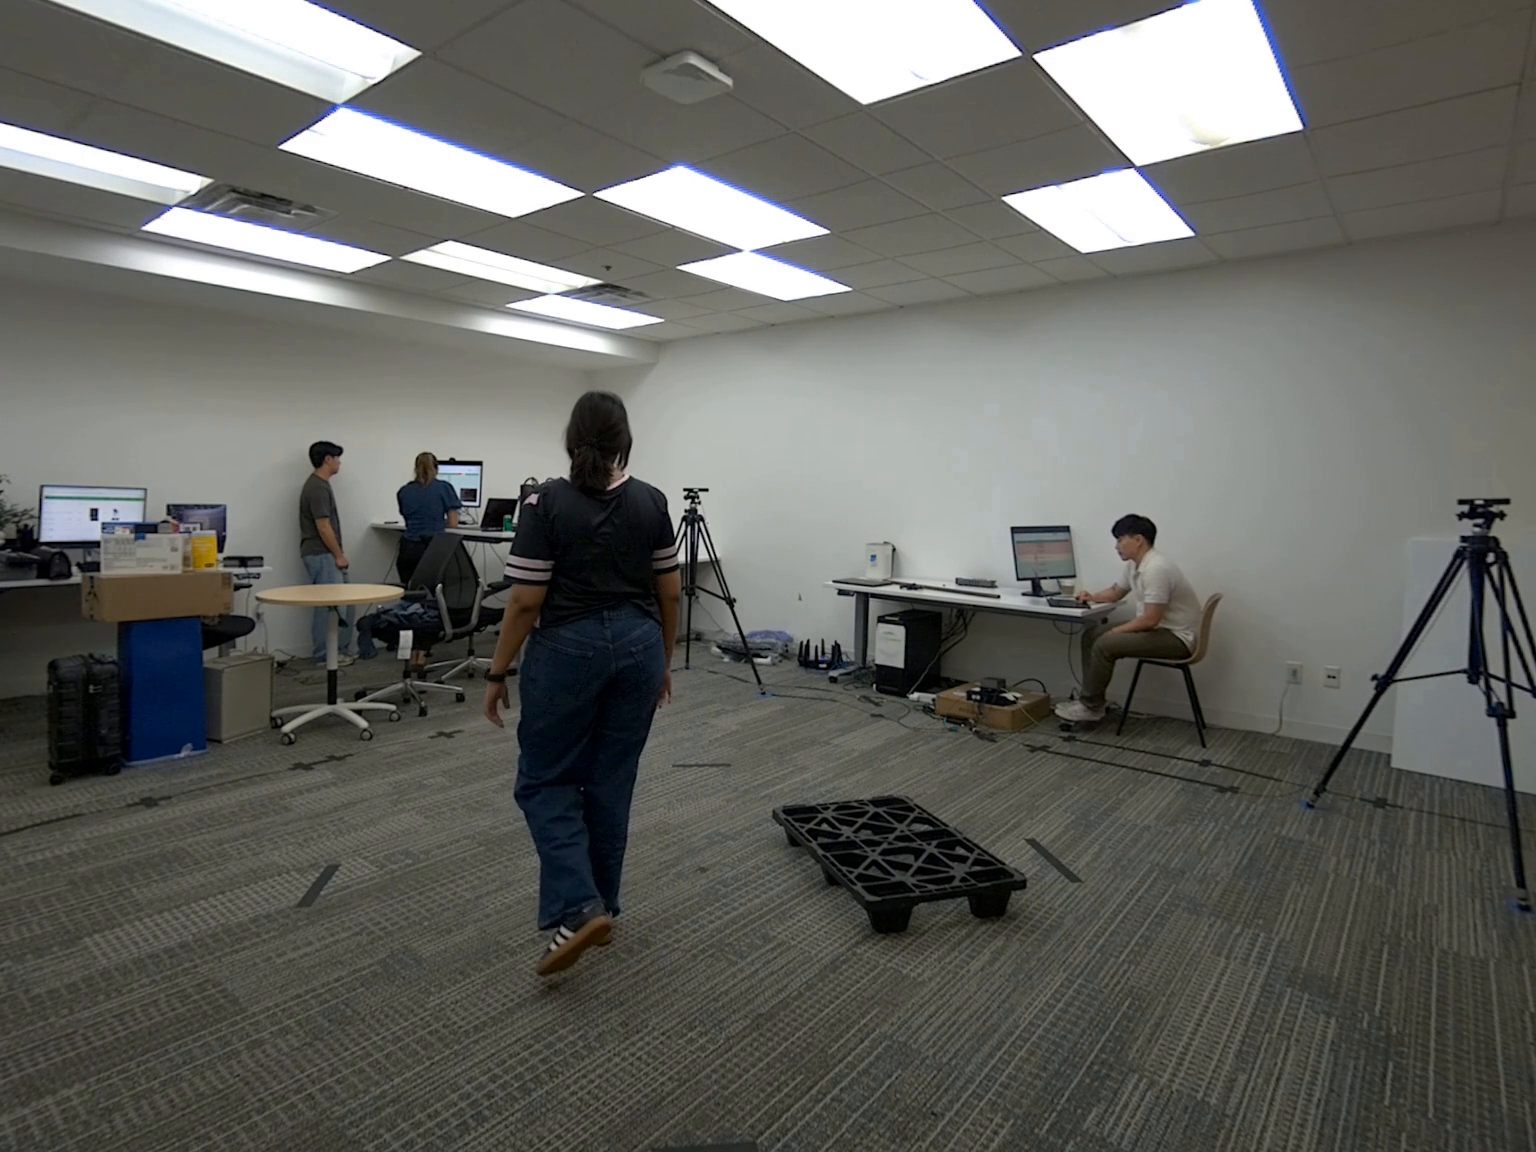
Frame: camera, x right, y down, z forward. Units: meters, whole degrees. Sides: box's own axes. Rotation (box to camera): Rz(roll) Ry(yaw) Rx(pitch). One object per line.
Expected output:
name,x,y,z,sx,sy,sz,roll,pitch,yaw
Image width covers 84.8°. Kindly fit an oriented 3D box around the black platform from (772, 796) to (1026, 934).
black platform,0.427,1.020,3.085,0.593,0.143,0.825,-2,6,-21
